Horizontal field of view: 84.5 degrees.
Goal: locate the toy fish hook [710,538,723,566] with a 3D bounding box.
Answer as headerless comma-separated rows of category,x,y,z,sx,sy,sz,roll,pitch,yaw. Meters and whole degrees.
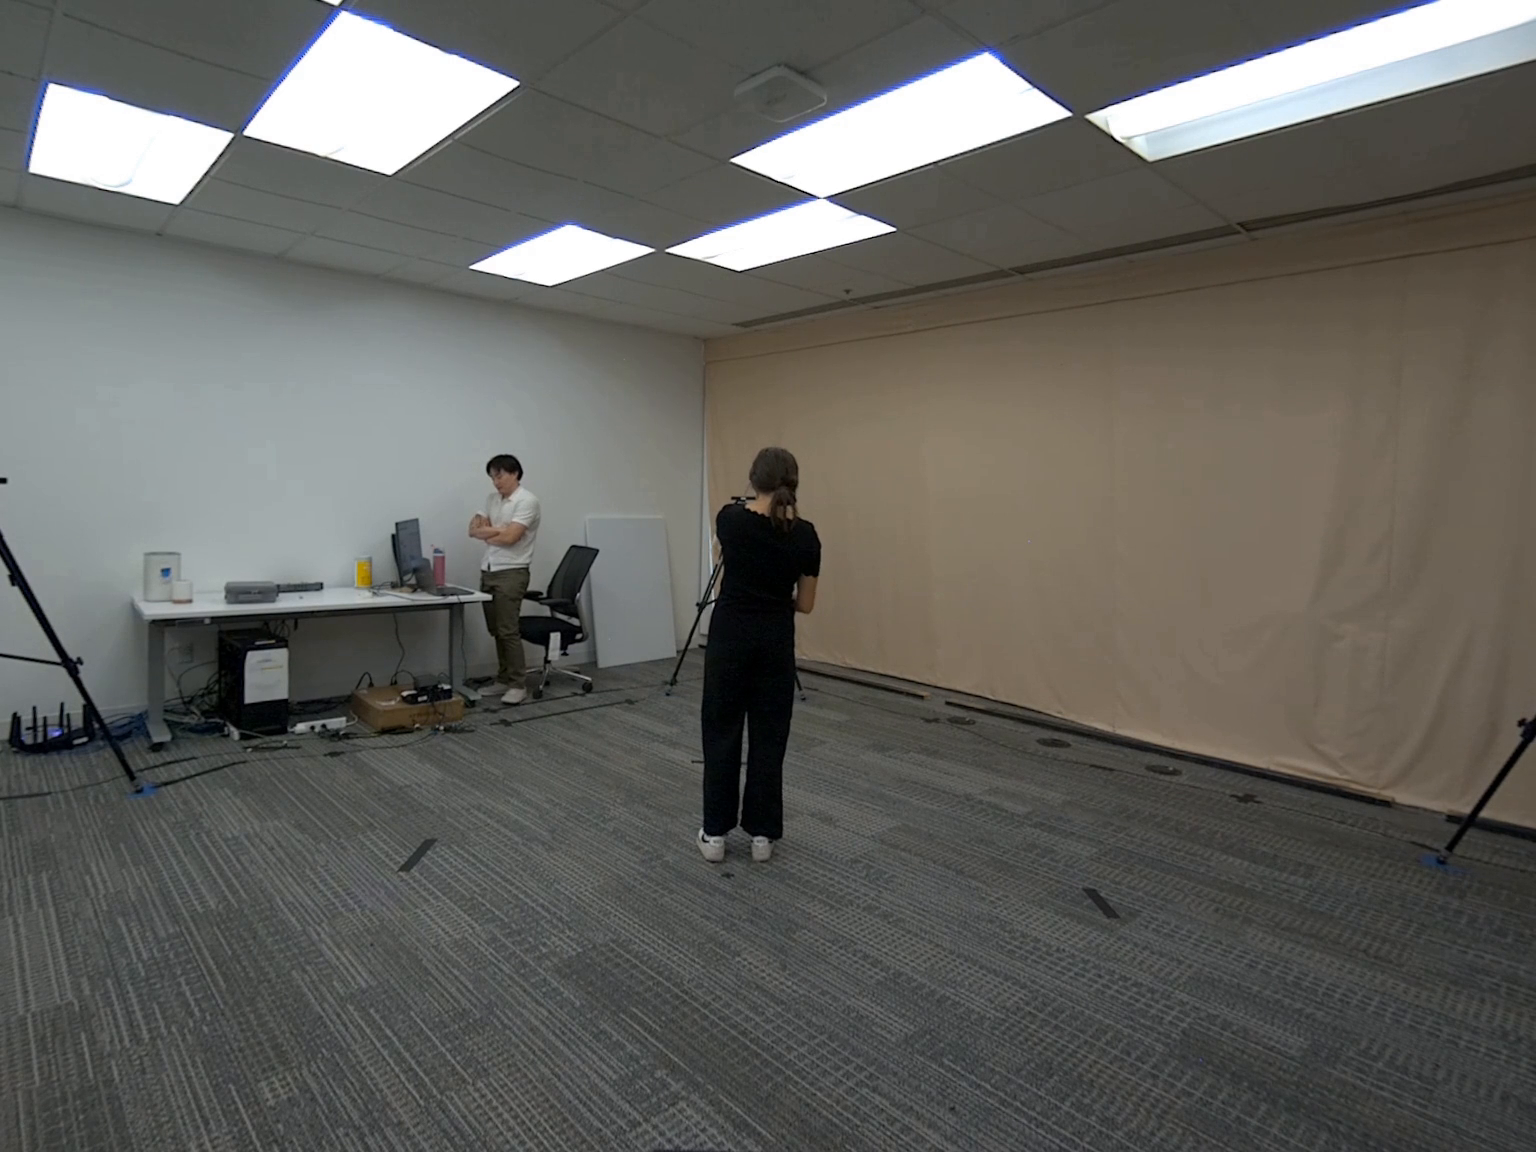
toy fish hook,-0.146,0.005,3.651,0.227,0.507,0.048,-2,-1,16
